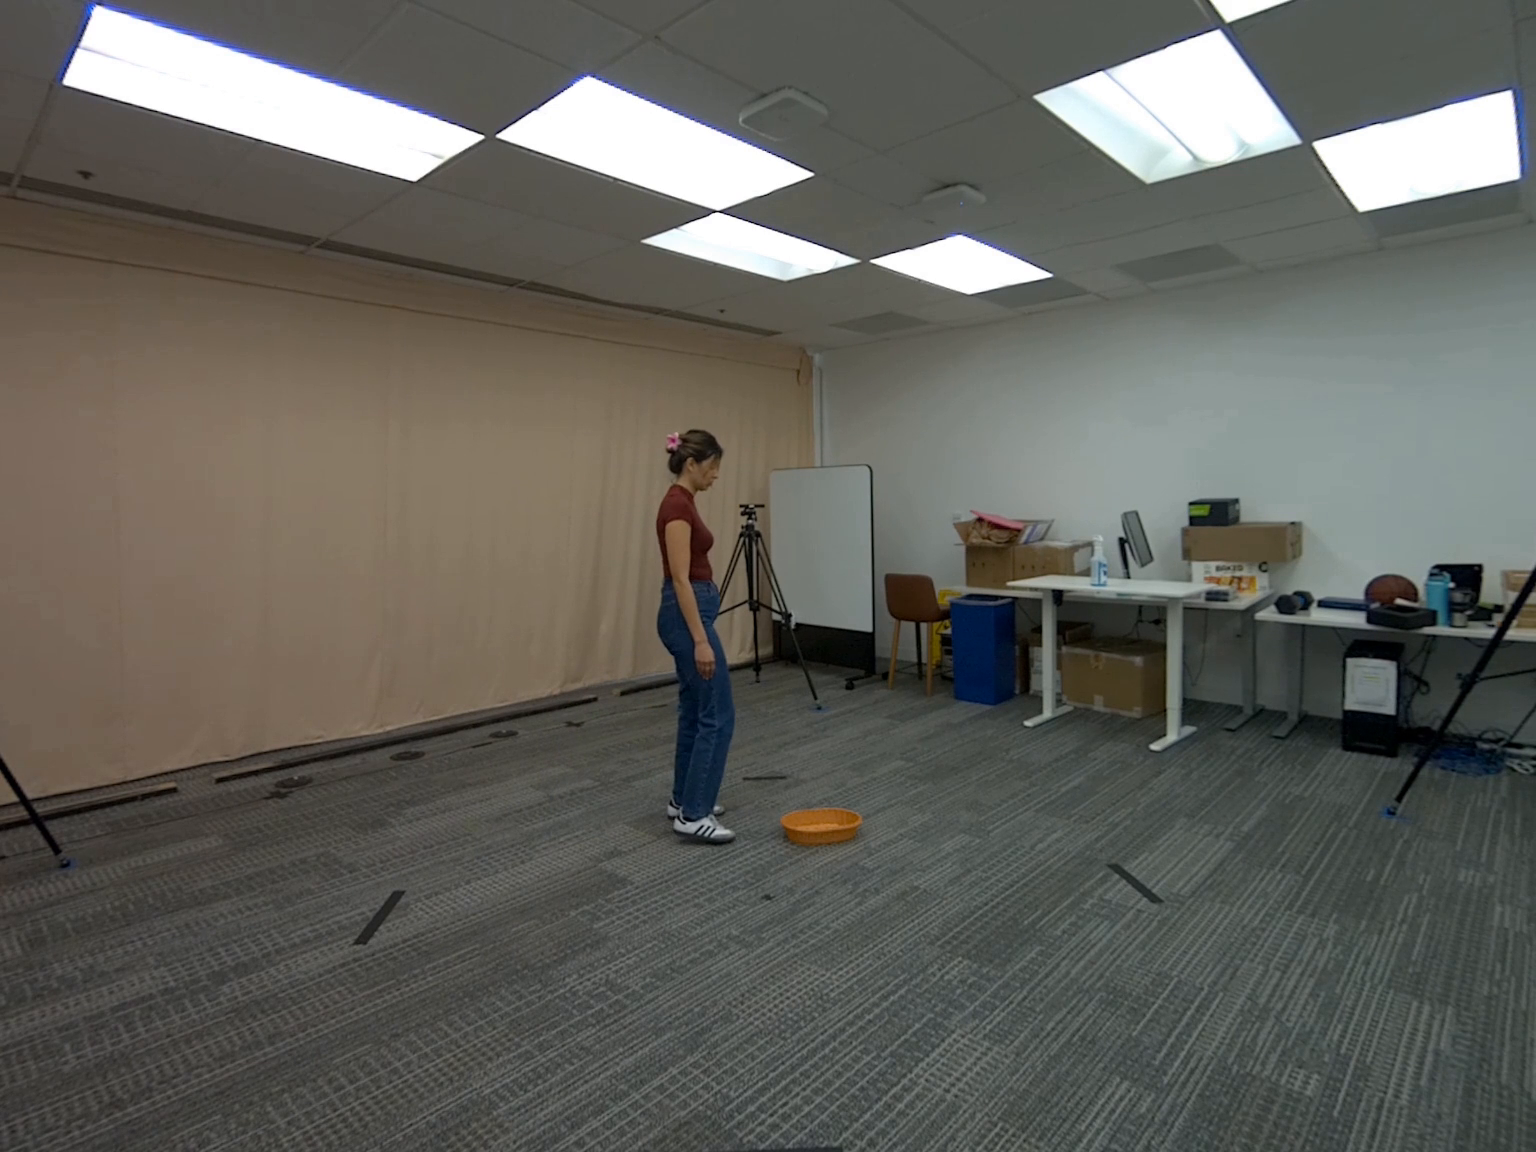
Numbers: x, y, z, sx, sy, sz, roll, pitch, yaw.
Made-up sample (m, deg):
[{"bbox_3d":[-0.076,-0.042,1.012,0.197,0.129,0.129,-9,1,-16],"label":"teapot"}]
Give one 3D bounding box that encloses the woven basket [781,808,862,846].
[{"bbox_3d":[0.221,1.049,3.527,0.345,0.073,0.257,-2,4,-15],"label":"woven basket"}]
